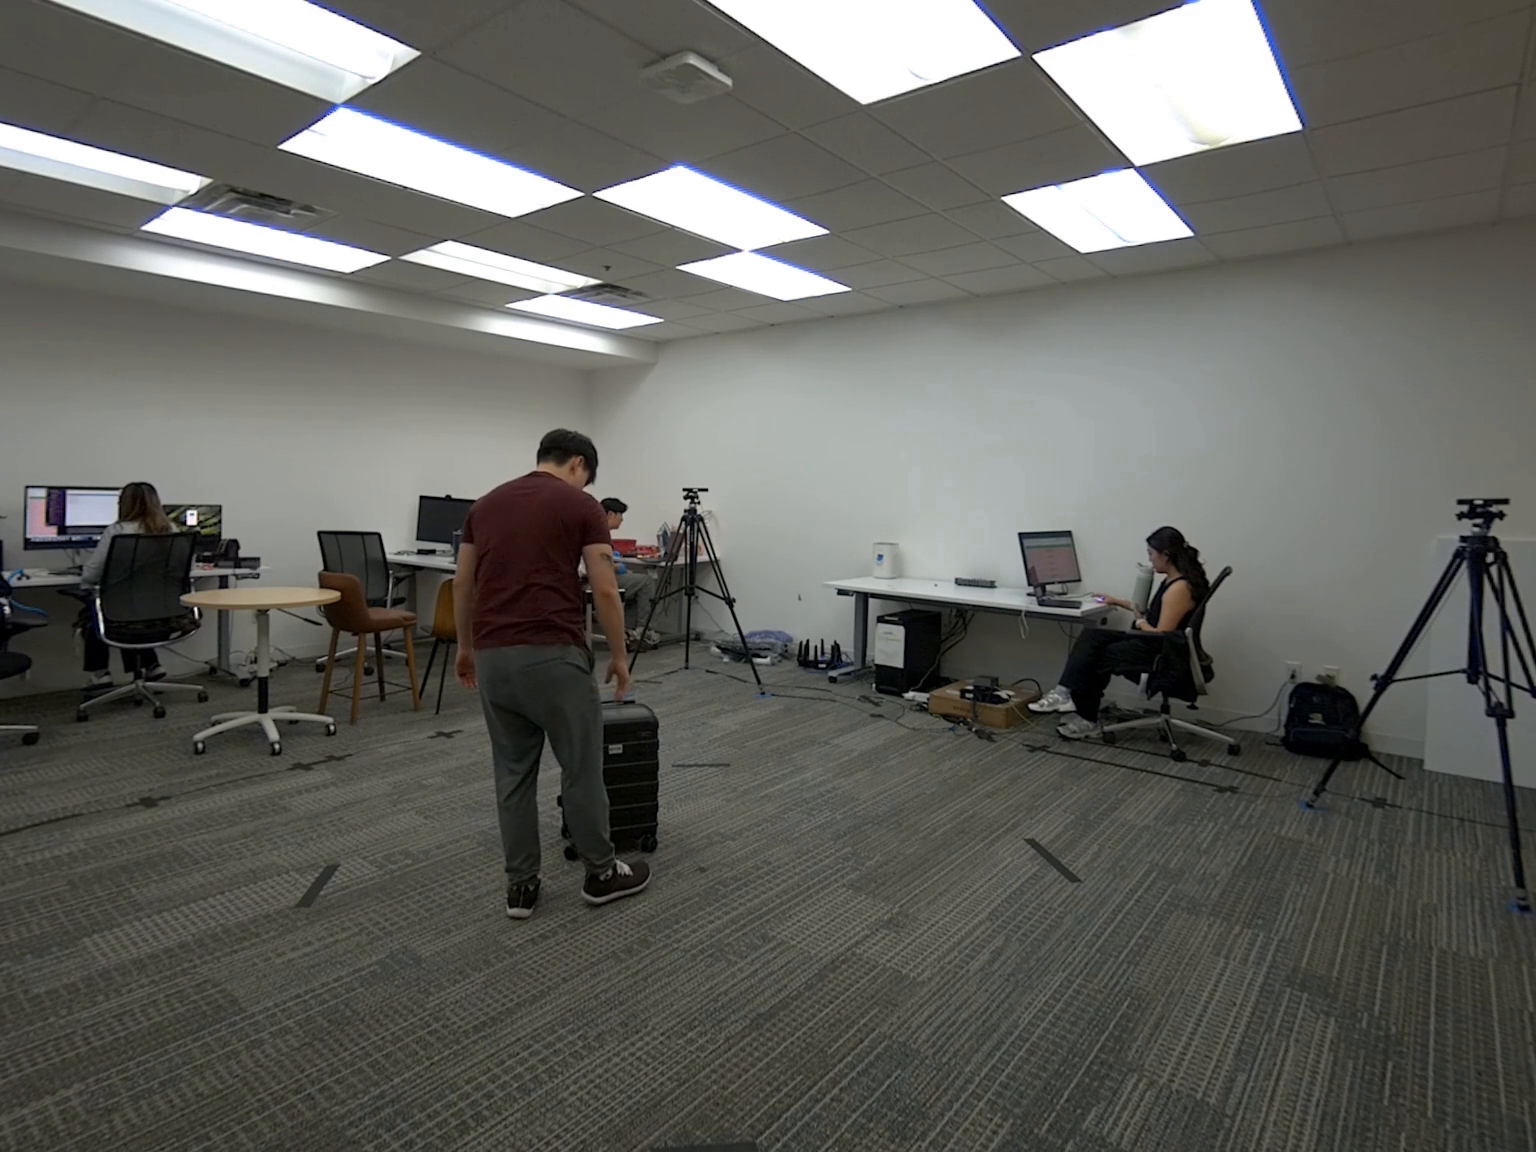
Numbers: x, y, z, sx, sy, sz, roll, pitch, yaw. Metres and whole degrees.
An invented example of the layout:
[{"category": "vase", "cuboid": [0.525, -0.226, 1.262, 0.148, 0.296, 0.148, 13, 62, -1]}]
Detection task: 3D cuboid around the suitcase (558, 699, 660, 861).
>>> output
[{"category": "suitcase", "cuboid": [-0.618, 0.569, 3.305, 0.377, 0.976, 0.263, 0, 3, -19]}]
